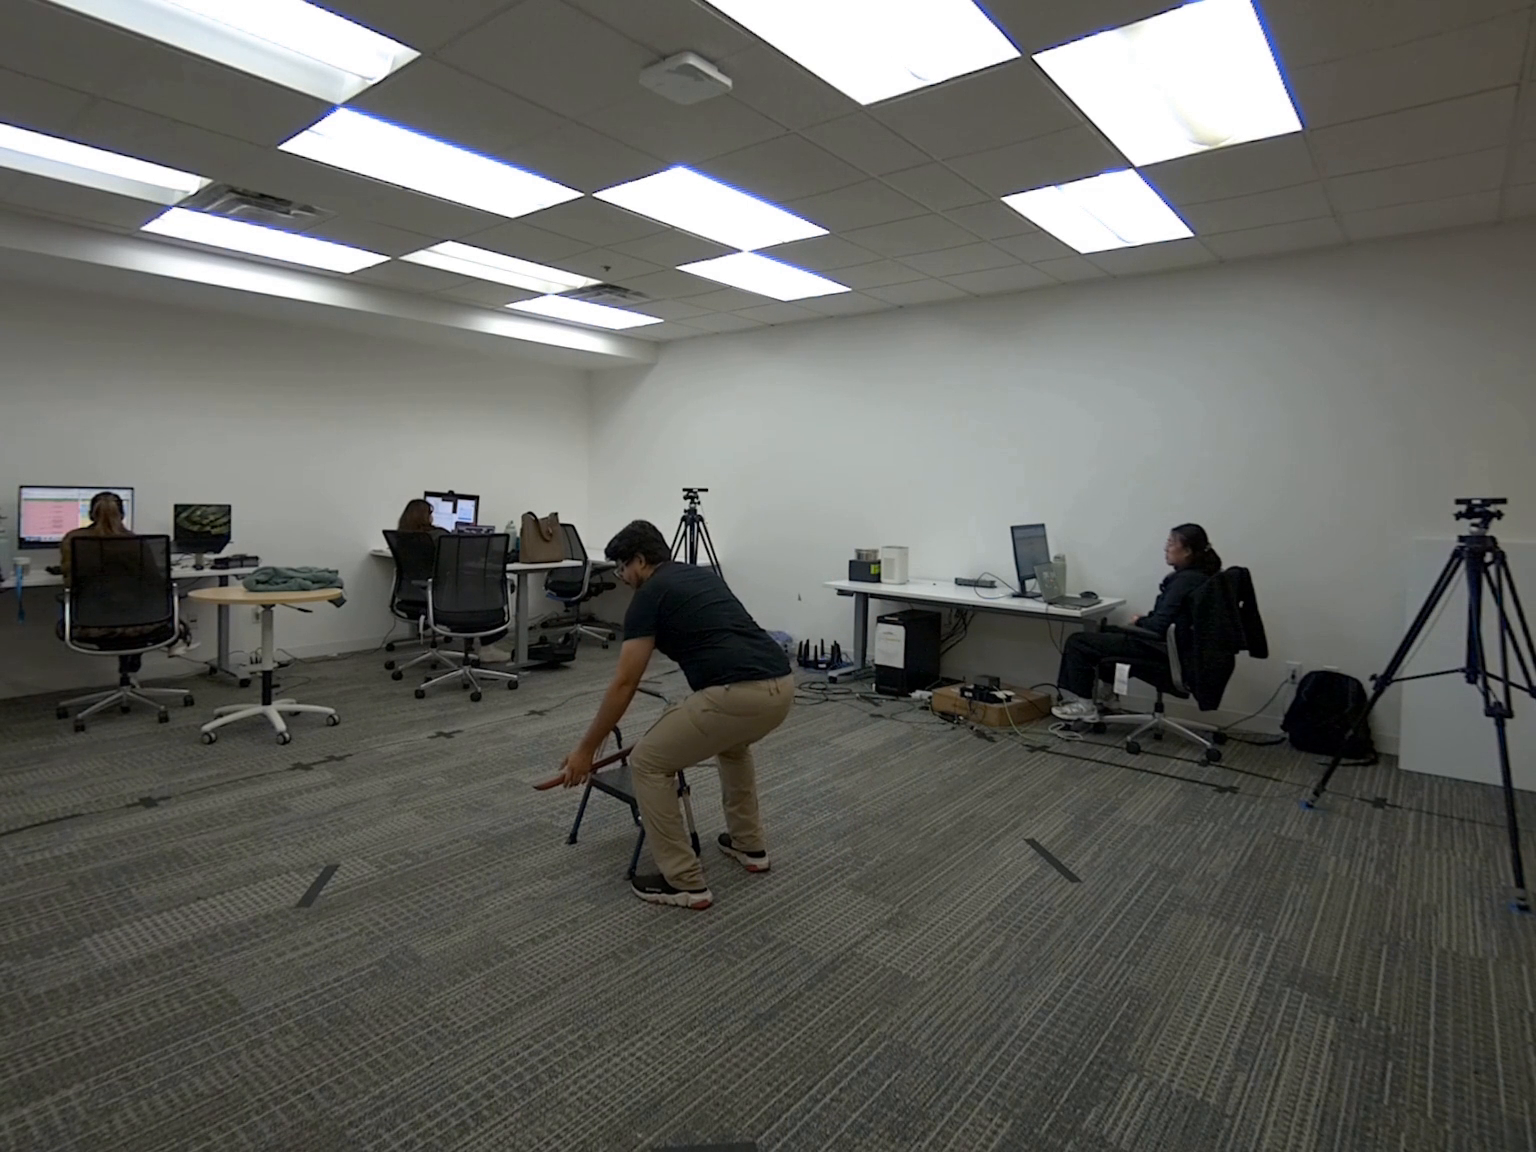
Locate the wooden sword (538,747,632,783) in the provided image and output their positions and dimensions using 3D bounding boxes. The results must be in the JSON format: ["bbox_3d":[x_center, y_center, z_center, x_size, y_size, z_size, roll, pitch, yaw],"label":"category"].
[{"bbox_3d":[-0.508,0.597,3.265,0.999,0.024,0.052,-13,0,-42],"label":"wooden sword"}]
